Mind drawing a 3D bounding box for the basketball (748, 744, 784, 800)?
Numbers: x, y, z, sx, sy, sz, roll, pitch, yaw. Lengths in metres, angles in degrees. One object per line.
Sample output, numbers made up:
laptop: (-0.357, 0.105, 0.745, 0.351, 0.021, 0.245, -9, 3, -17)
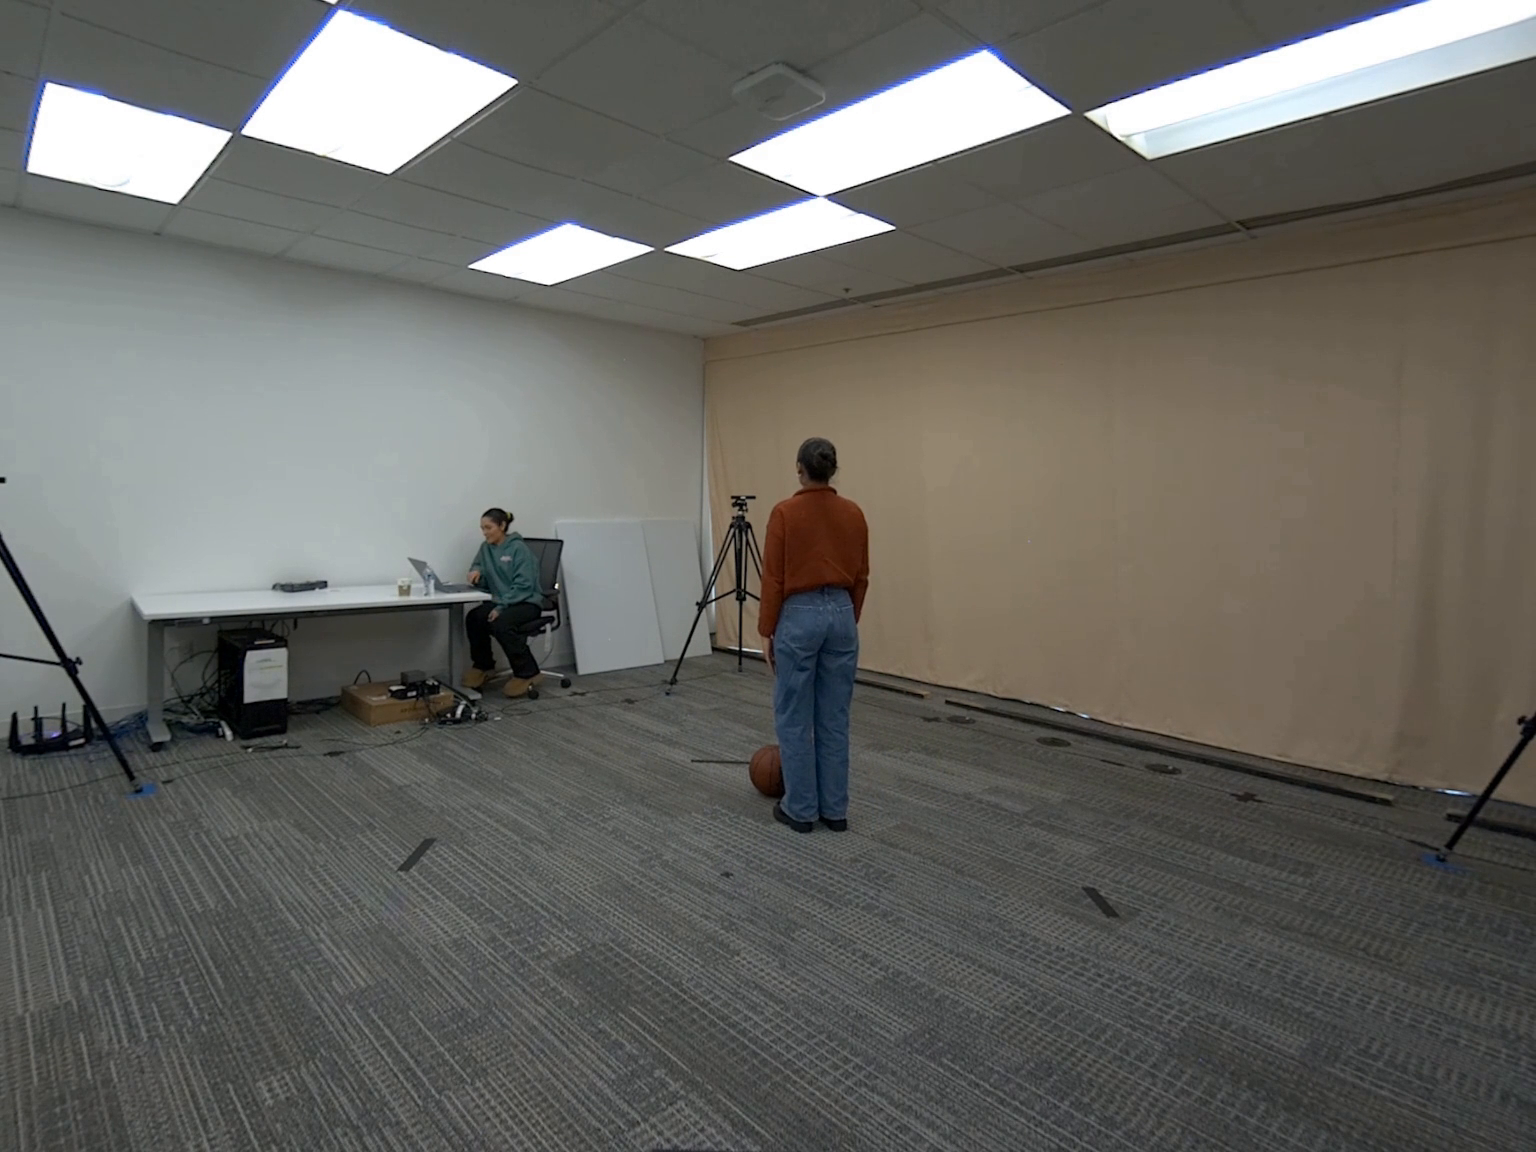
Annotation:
basketball: (0.020, 0.910, 3.963, 0.236, 0.235, 0.237, 1, 4, -1)
